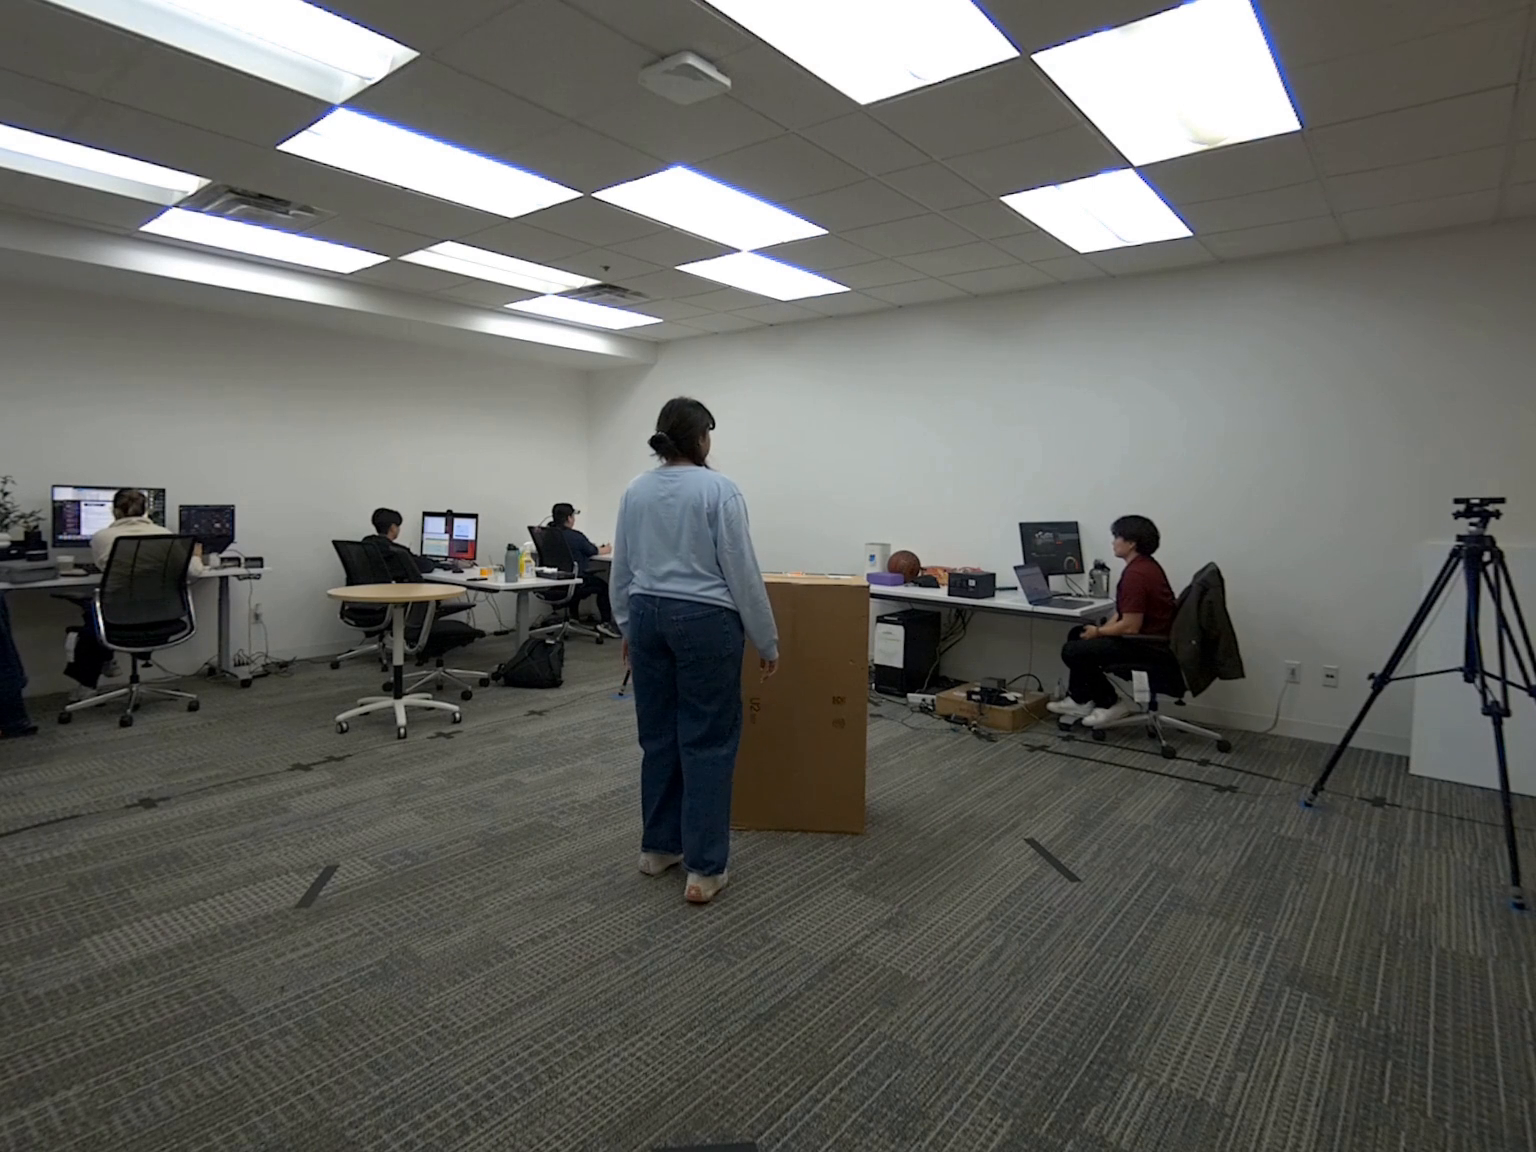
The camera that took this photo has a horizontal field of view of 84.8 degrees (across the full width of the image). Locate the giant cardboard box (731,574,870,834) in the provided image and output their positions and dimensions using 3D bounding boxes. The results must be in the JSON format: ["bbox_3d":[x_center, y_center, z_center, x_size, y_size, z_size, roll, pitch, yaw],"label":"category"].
[{"bbox_3d":[0.112,0.514,3.664,0.579,1.023,0.426,1,3,2],"label":"giant cardboard box"}]
